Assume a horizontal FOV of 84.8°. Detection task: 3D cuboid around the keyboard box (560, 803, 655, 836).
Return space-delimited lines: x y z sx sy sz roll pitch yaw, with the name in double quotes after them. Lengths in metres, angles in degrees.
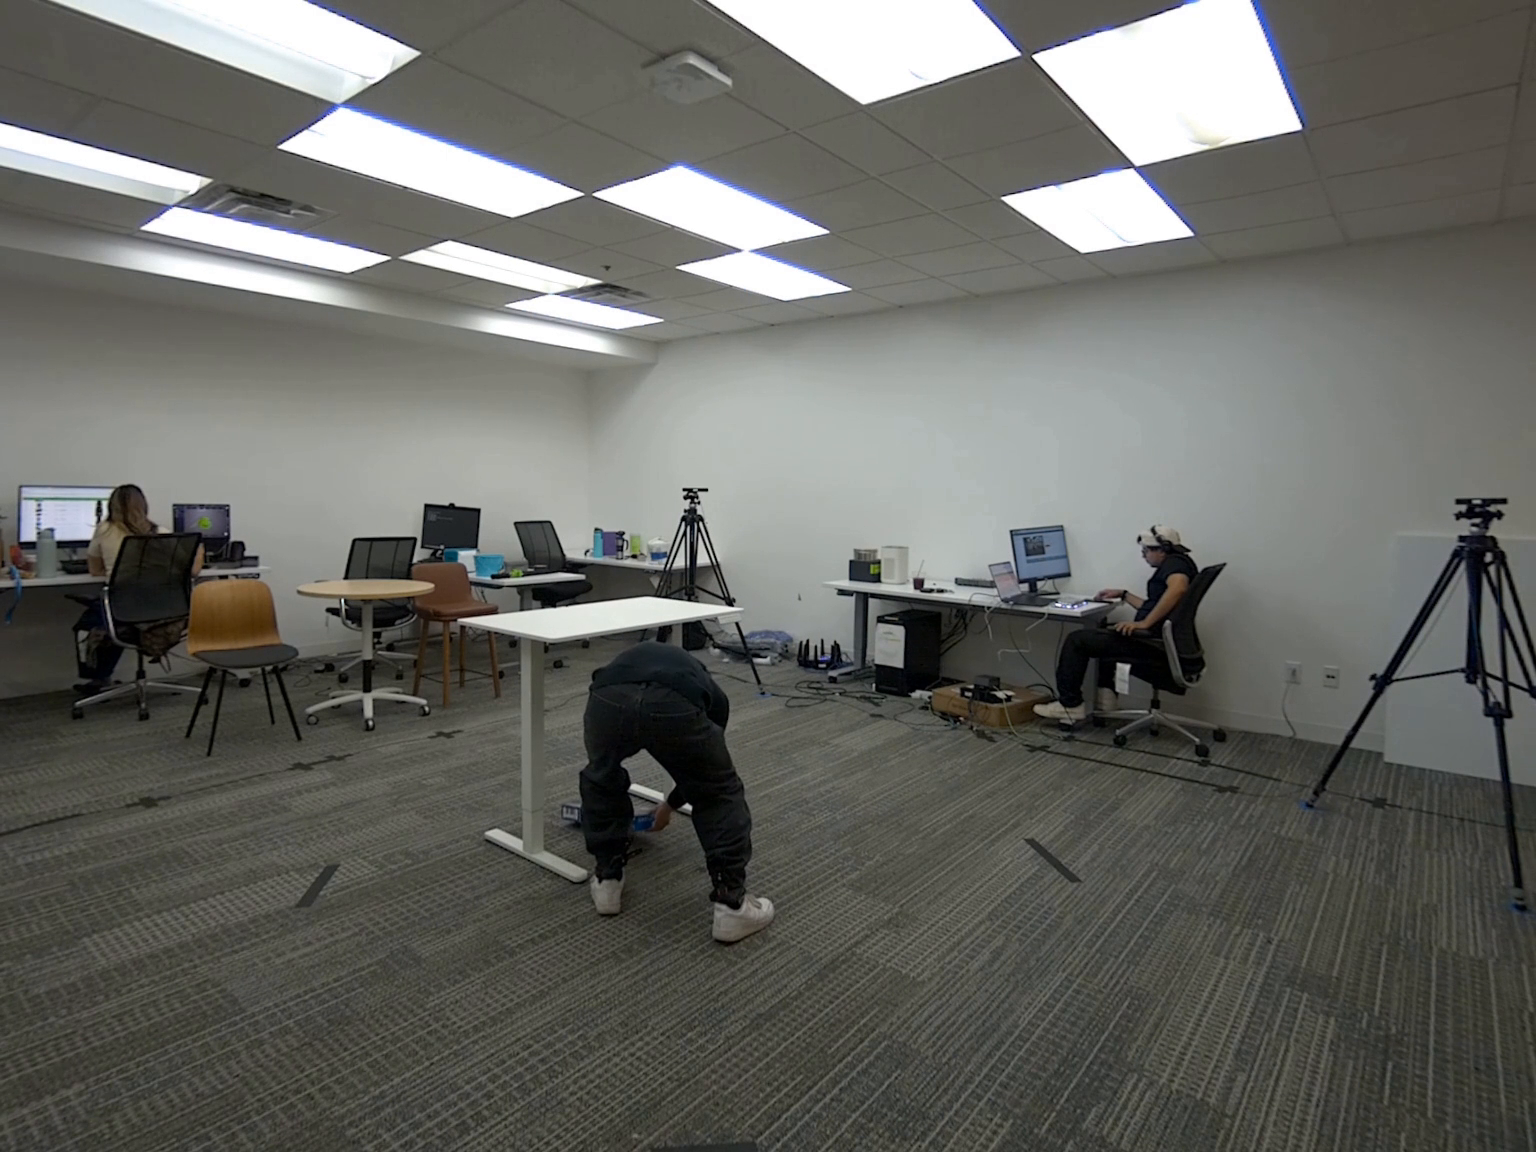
-0.634 0.953 3.420 0.449 0.059 0.170 -4 -8 39 "keyboard box"
